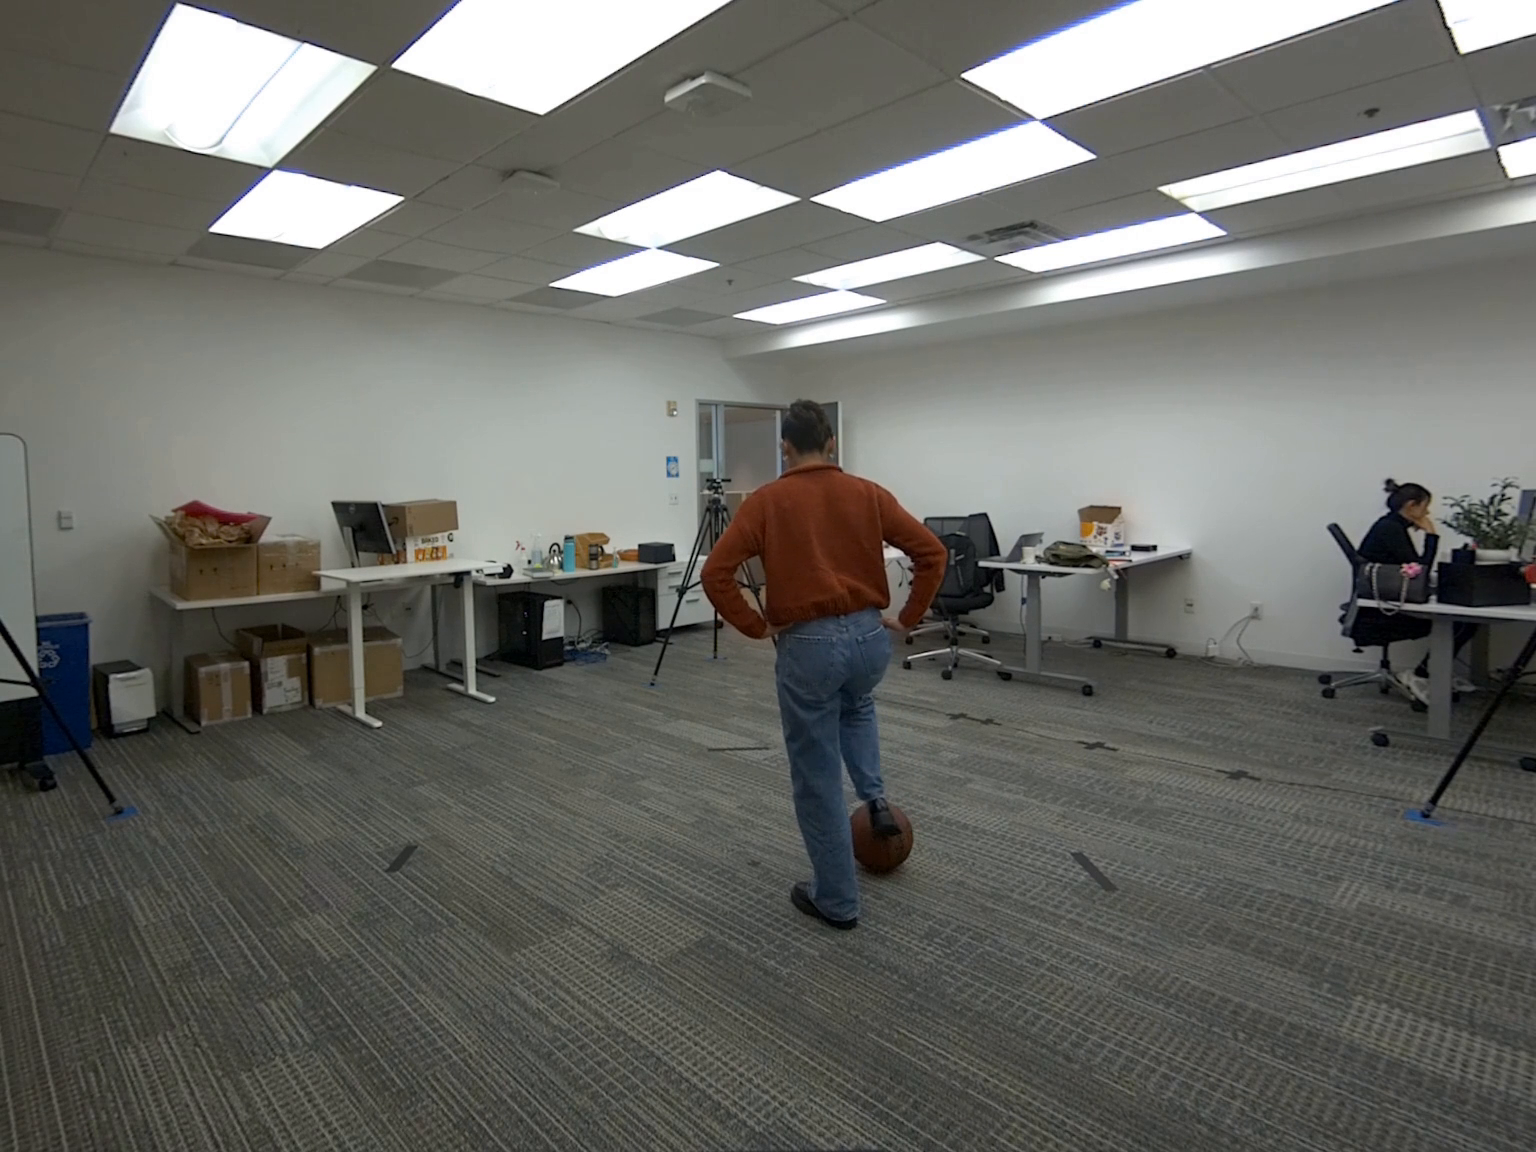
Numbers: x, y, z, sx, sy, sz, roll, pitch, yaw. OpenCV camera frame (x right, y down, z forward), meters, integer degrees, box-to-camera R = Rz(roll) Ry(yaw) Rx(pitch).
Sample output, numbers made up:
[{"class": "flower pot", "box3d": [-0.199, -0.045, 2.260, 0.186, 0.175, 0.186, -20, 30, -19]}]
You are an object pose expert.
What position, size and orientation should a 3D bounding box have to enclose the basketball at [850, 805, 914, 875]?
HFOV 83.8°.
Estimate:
[{"class": "basketball", "box3d": [0.400, 0.924, 3.058, 0.236, 0.235, 0.237, -1, 5, -2]}]
